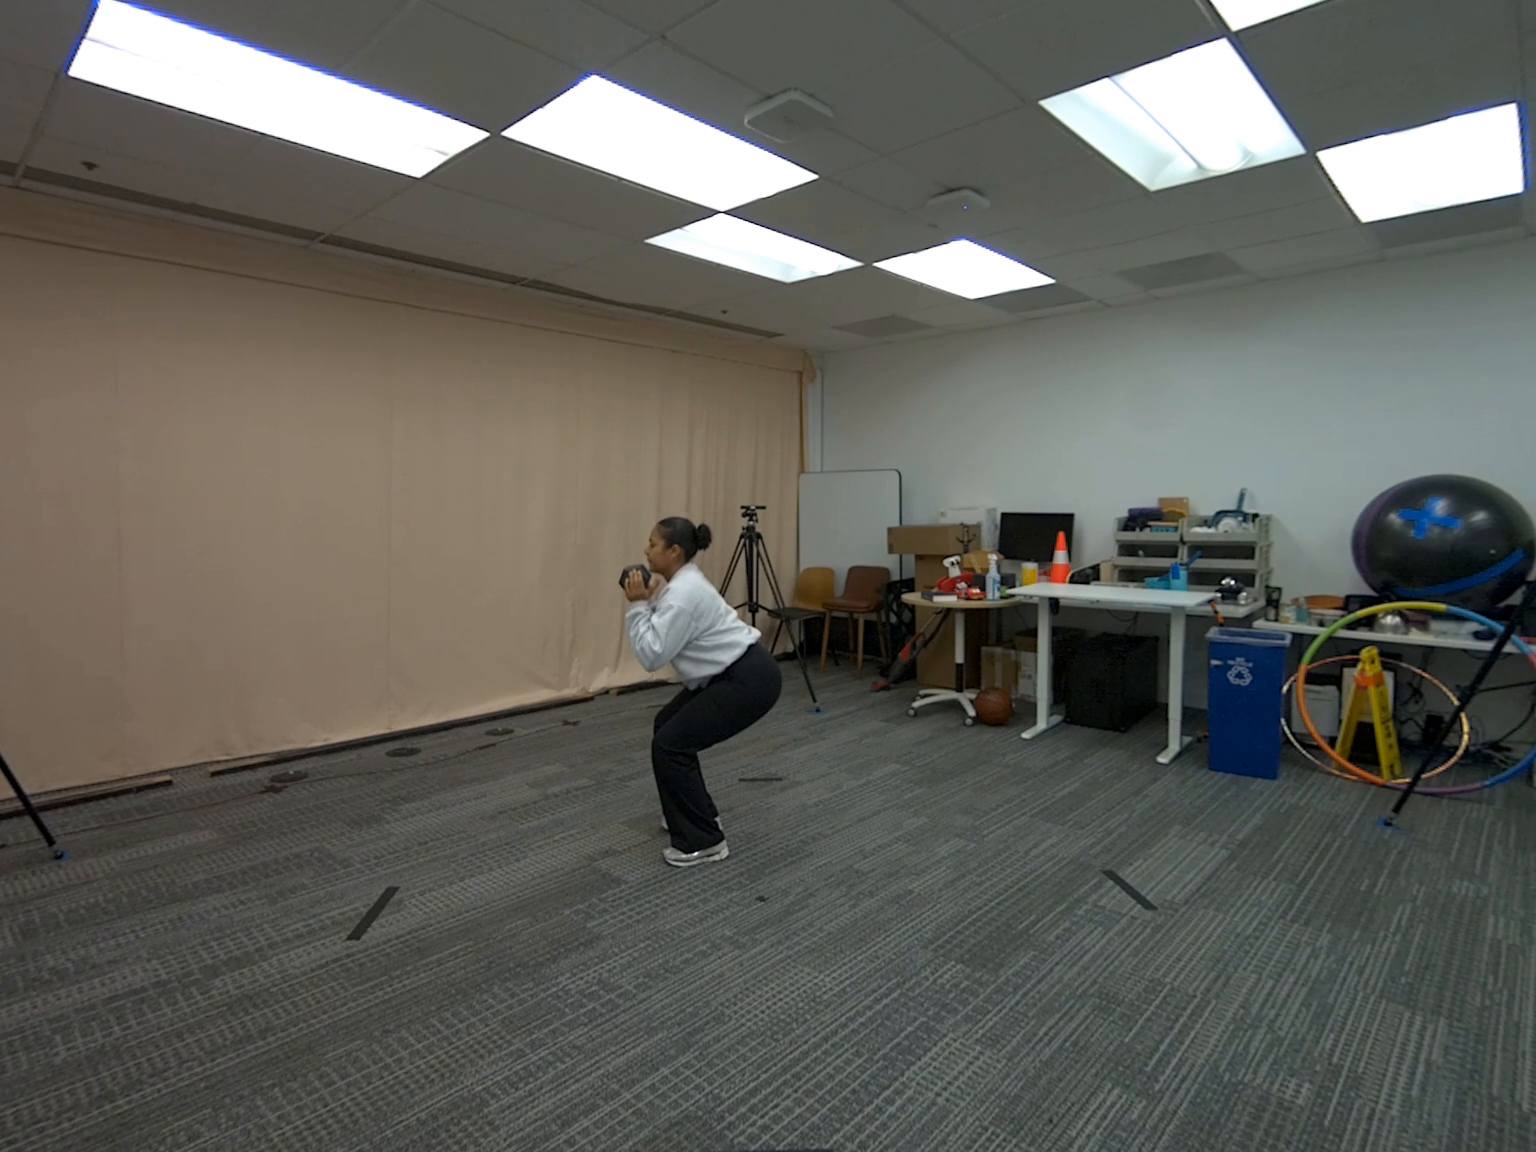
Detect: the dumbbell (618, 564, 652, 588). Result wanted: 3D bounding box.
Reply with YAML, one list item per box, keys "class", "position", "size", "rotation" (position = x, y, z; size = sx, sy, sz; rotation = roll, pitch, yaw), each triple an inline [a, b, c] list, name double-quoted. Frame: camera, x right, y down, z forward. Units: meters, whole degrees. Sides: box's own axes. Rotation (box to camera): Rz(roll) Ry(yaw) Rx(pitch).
- class: "dumbbell"
  position: [-0.526, 0.010, 3.424]
  size: [0.108, 0.123, 0.294]
  rotation: [25, -2, -4]
